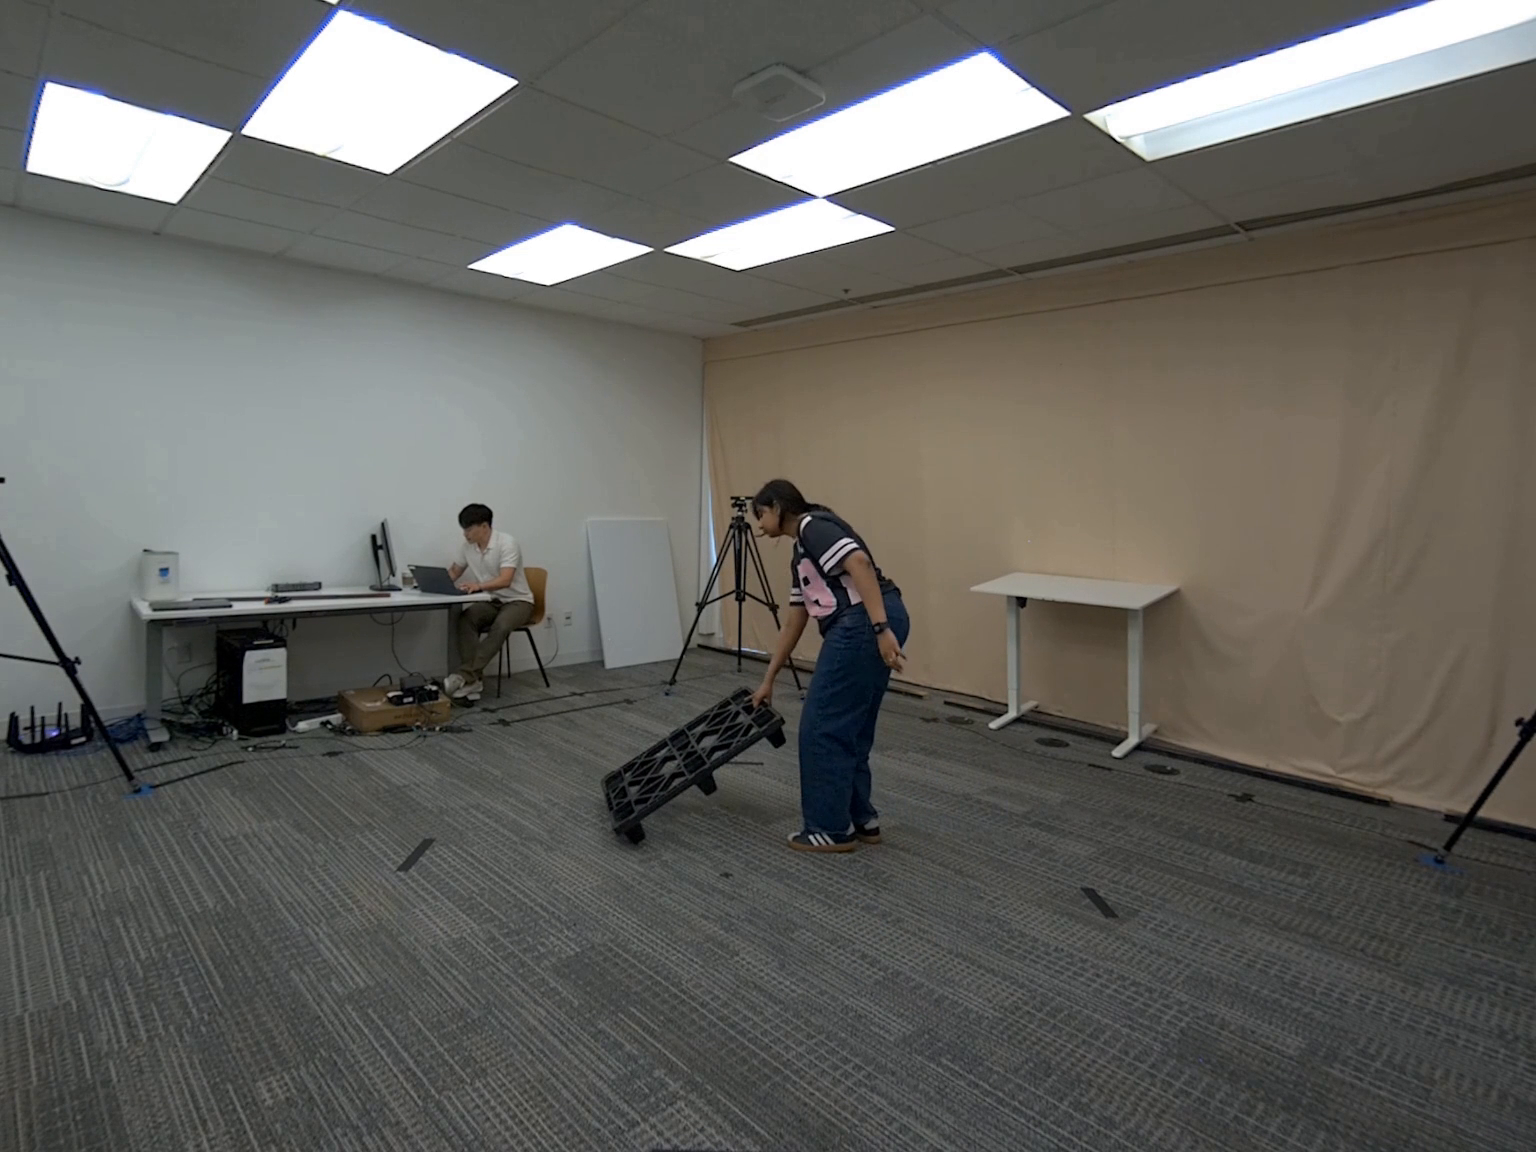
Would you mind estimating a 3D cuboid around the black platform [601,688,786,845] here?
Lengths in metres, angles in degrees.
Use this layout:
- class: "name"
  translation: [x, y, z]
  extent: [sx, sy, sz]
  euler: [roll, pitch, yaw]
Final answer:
- class: "black platform"
  translation: [-0.327, 0.803, 3.638]
  extent: [0.803, 0.142, 0.613]
  euler: [-32, 12, -10]
